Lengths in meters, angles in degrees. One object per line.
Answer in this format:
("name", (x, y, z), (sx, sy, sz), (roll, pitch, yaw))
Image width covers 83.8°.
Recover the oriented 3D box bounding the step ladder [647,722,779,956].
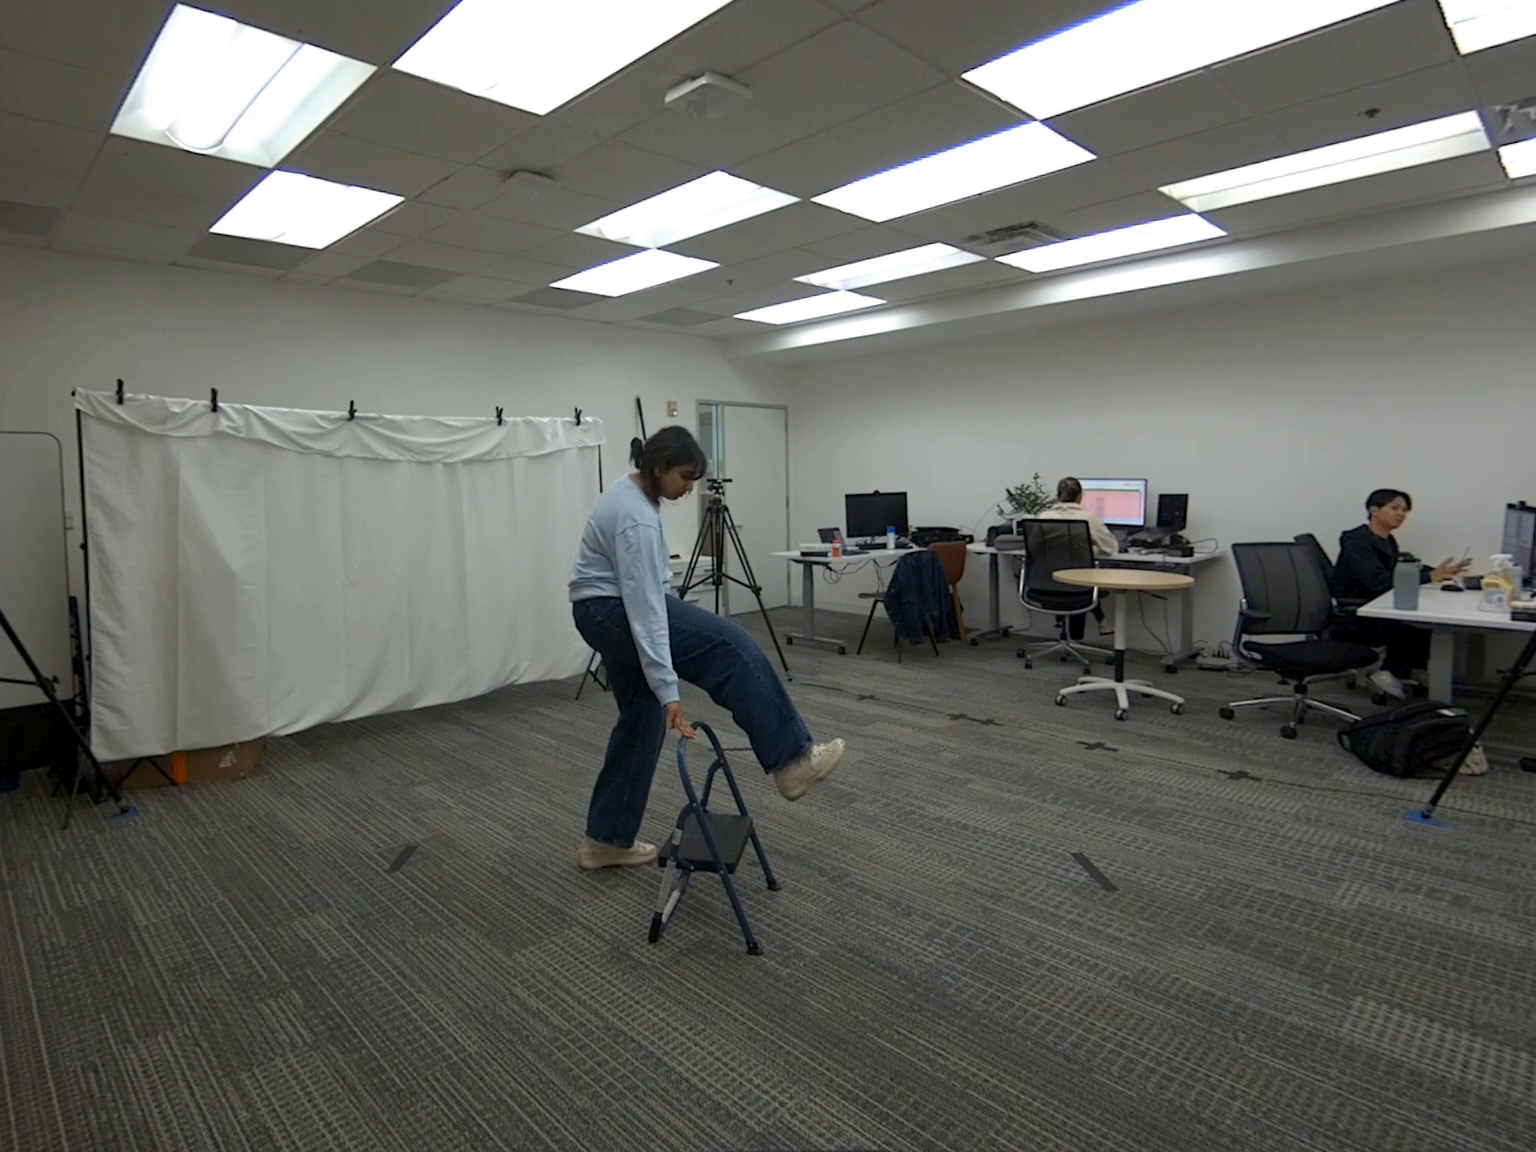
("step ladder", (-0.167, 0.789, 2.727), (0.353, 0.604, 0.428), (0, 5, 10))
